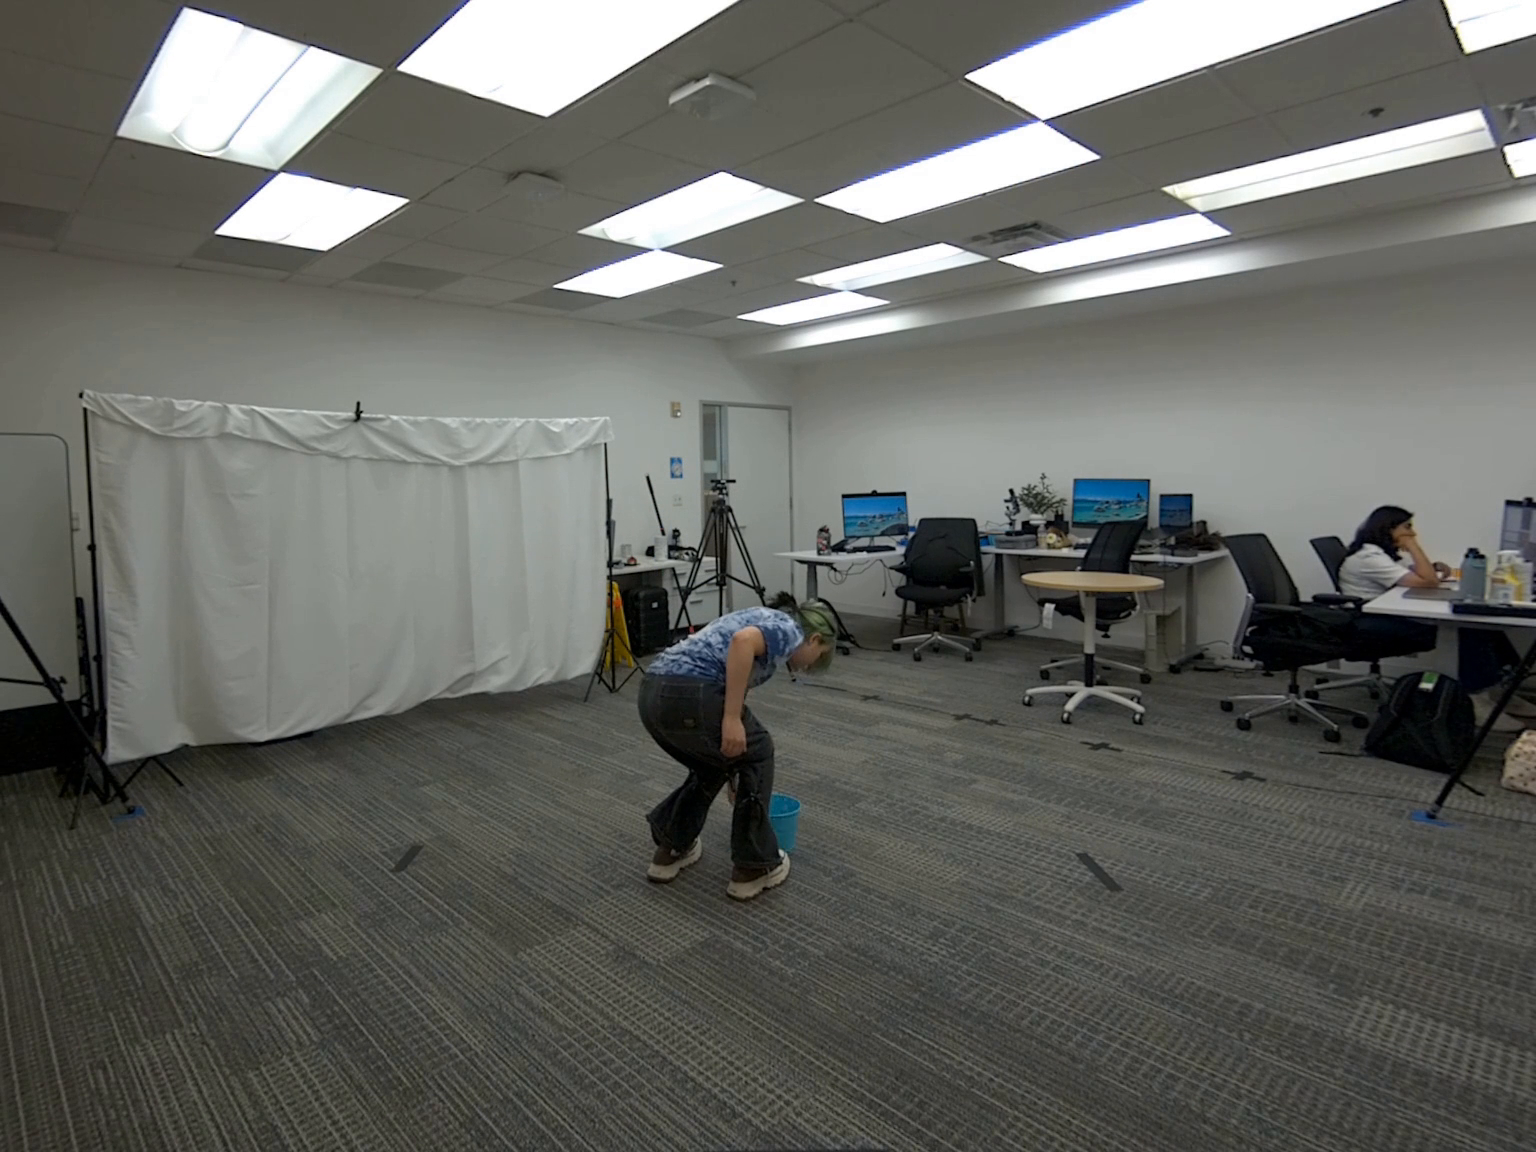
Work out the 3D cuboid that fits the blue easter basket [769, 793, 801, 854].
[{"bbox_3d":[0.014,0.950,3.278,0.243,0.155,0.245,-1,5,-2],"label":"blue easter basket"}]
